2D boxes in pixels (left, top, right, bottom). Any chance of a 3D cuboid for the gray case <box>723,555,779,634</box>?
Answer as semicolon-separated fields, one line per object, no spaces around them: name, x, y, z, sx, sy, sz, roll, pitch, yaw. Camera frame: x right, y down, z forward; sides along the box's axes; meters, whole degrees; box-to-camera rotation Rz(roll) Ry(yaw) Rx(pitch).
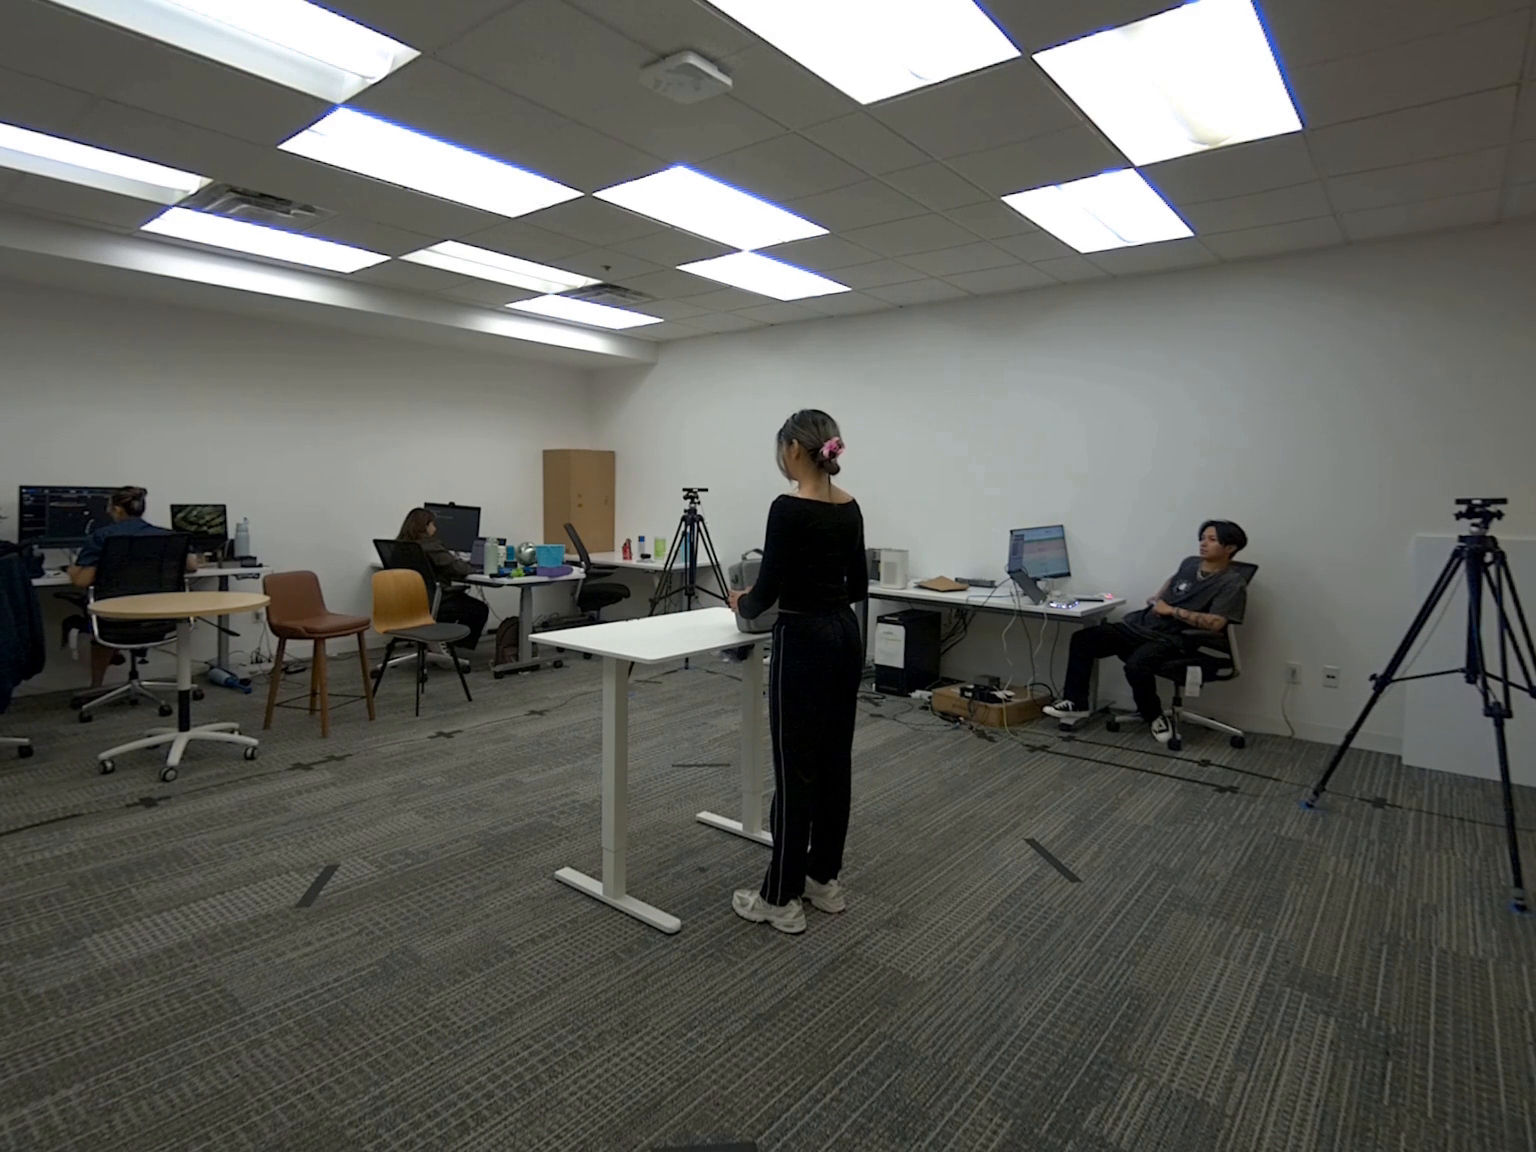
gray case;-0.020;0.062;3.072;0.249;0.262;0.107;-3;-8;-42
